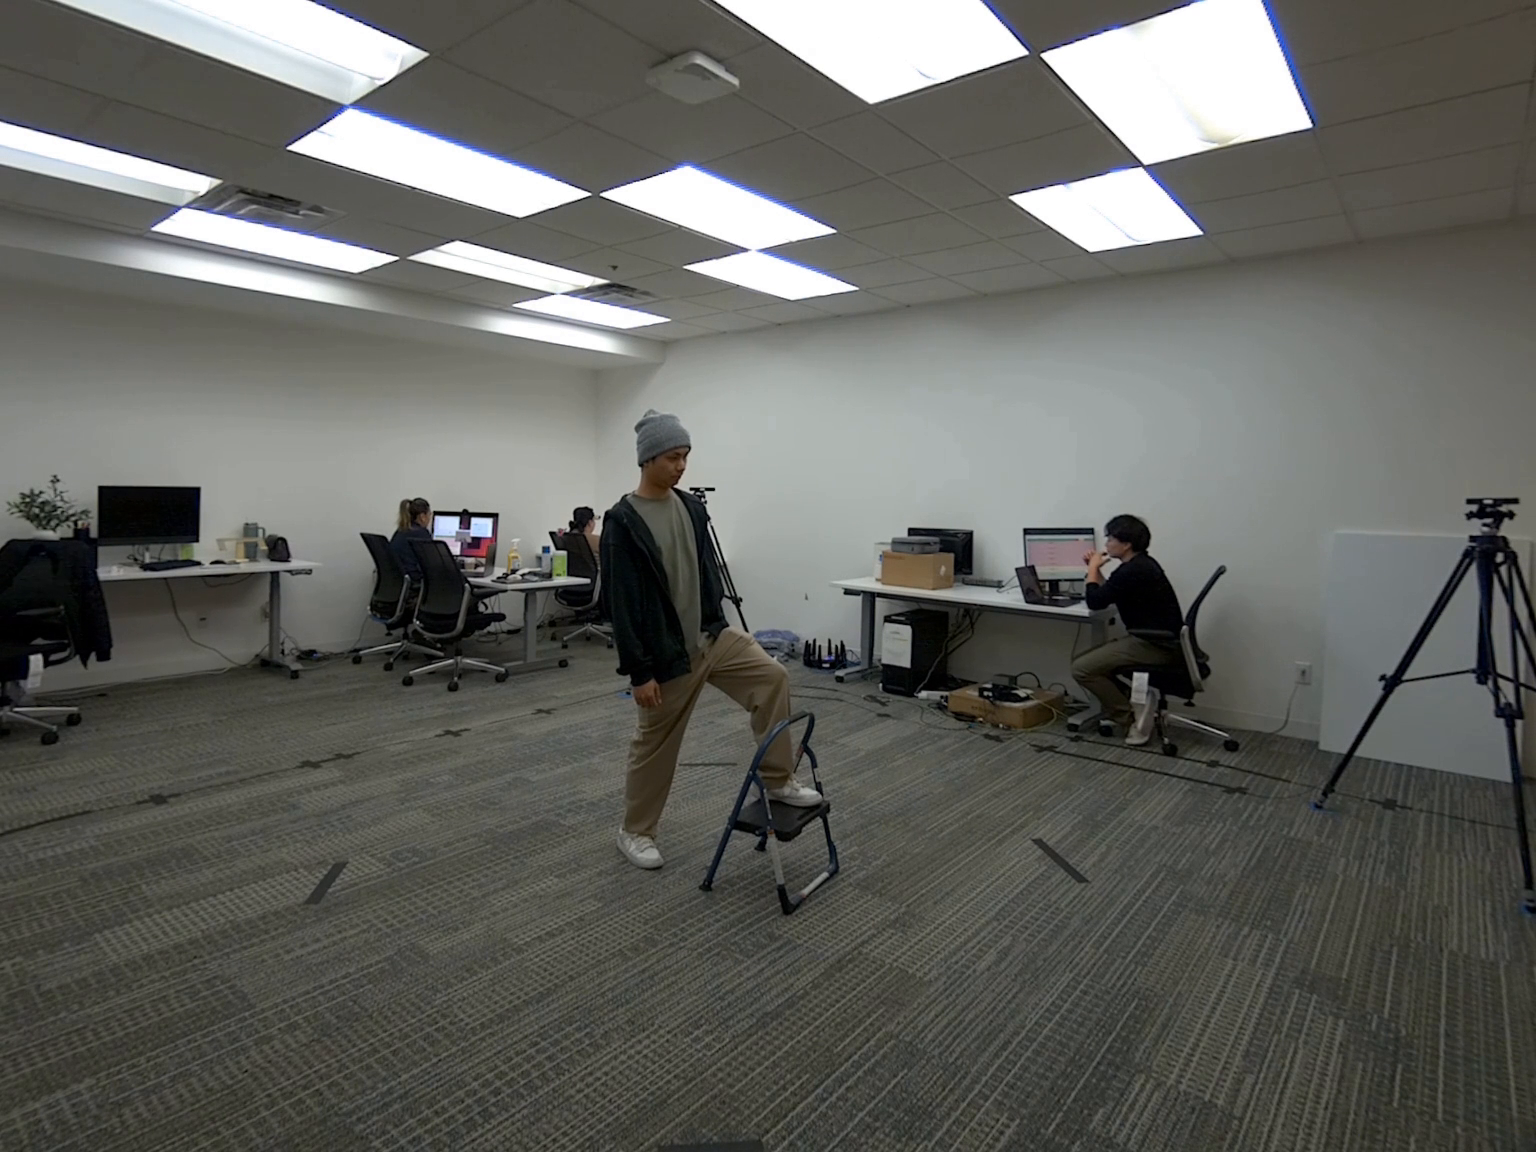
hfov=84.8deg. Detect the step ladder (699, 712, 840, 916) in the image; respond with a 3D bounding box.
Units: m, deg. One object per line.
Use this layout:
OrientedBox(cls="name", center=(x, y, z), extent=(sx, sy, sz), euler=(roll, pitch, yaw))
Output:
OrientedBox(cls="step ladder", center=(0.015, 0.779, 3.016), extent=(0.359, 0.604, 0.419), euler=(4, 4, 29))
